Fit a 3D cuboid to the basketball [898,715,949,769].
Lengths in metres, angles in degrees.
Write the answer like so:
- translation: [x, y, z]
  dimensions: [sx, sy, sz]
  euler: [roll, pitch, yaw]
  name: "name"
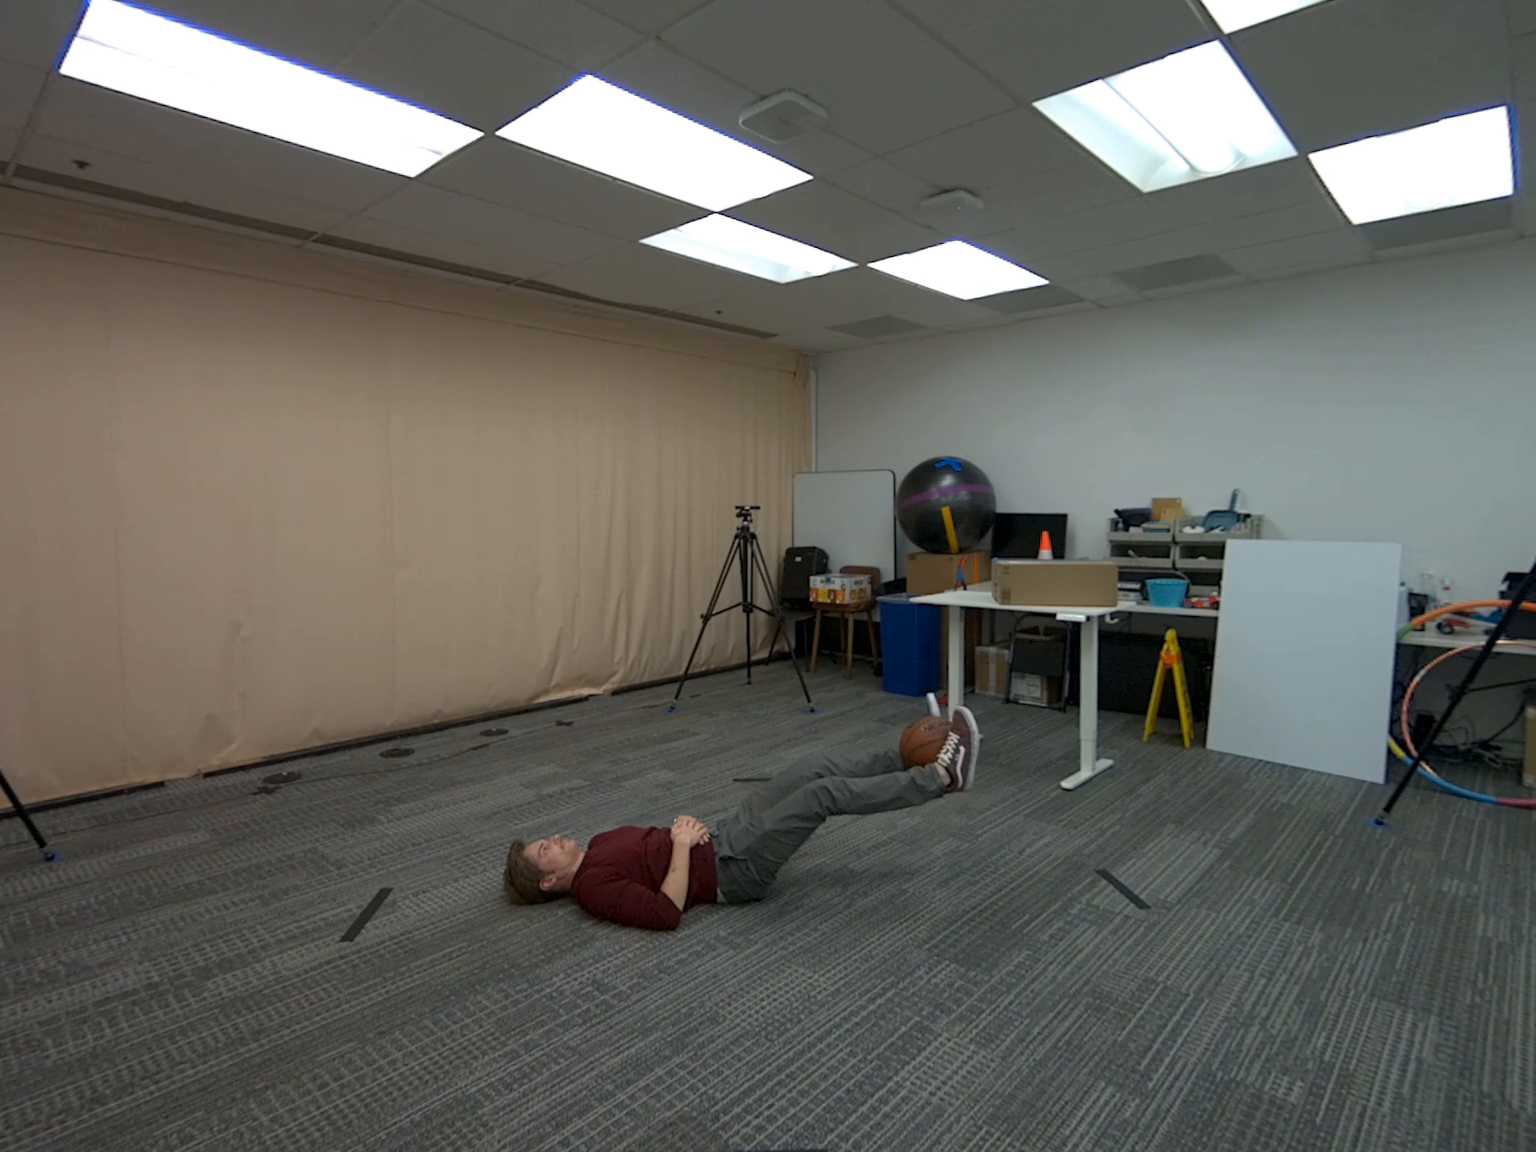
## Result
- translation: [0.604, 0.627, 3.054]
  dimensions: [0.235, 0.235, 0.237]
  euler: [3, 5, -2]
  name: "basketball"
